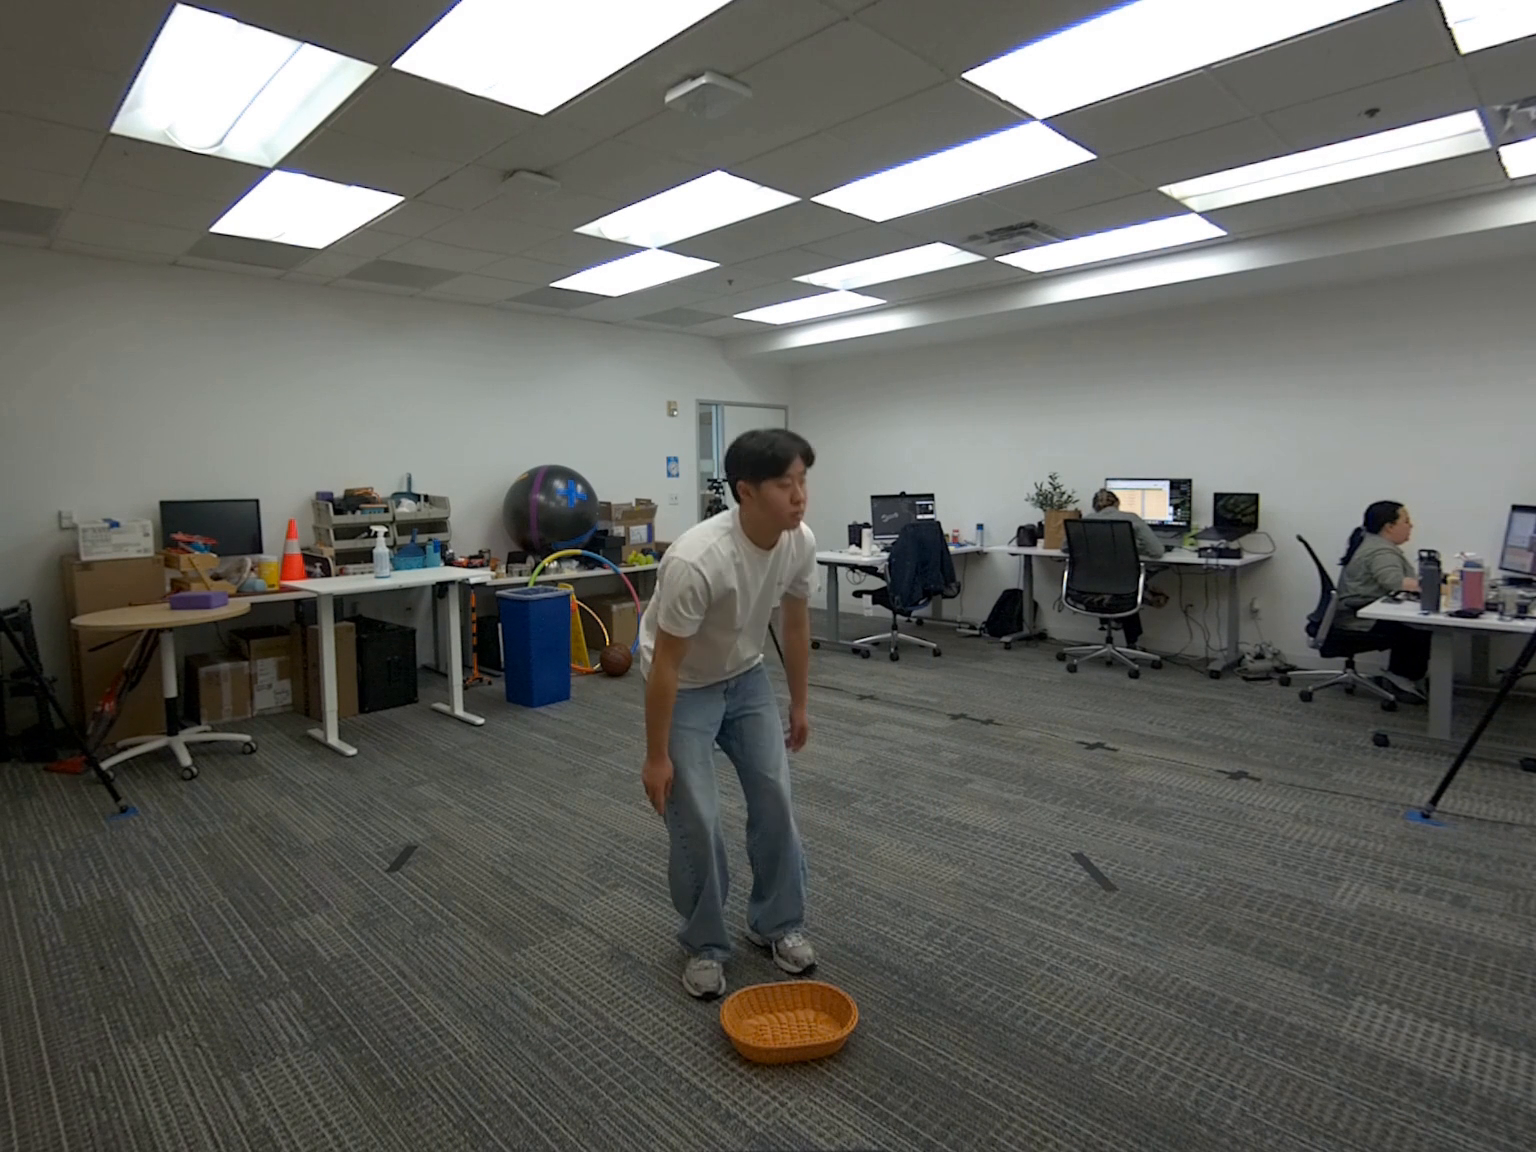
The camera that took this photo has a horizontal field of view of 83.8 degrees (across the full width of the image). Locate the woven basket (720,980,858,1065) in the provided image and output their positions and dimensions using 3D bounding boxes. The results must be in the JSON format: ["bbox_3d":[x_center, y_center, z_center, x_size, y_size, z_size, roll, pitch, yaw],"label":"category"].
[{"bbox_3d":[0.061,1.127,2.126,0.347,0.073,0.256,-3,7,-9],"label":"woven basket"}]
